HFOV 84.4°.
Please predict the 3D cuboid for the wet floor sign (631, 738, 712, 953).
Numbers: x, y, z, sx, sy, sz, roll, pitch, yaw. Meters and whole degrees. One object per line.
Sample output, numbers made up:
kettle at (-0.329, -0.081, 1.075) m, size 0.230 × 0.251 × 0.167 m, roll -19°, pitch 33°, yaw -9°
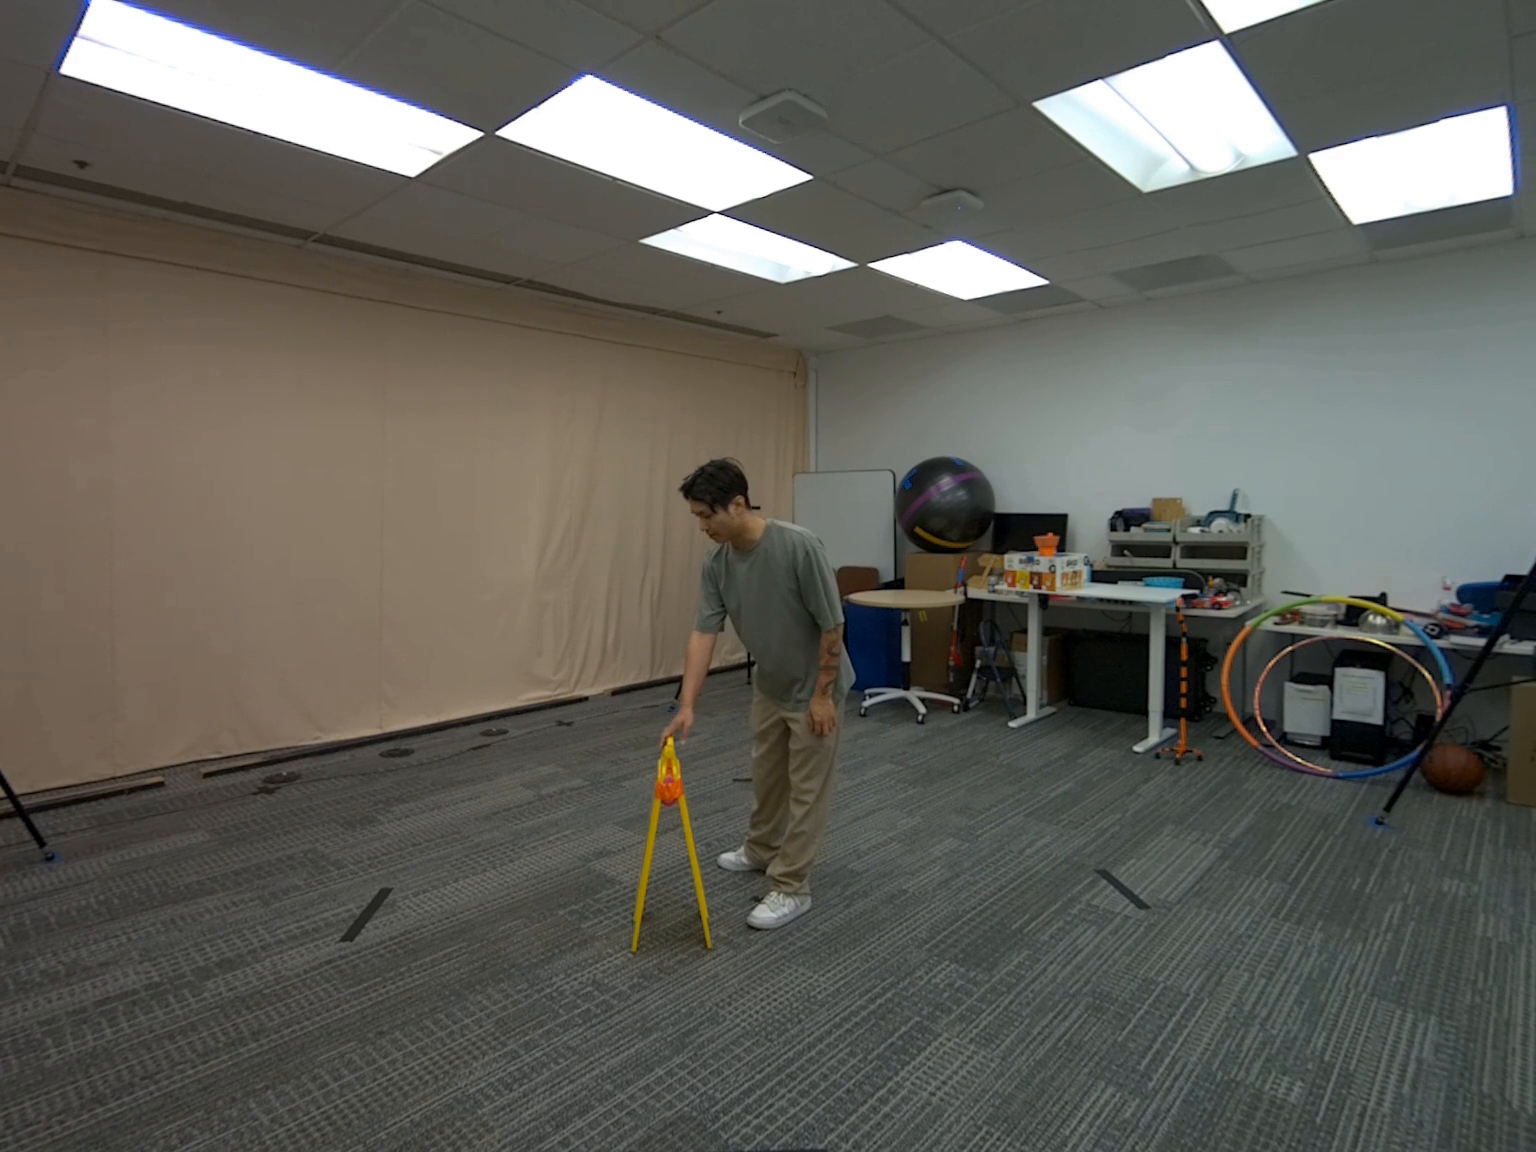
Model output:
wet floor sign at (-0.316, 0.846, 2.750) m, size 0.288 × 0.645 × 0.284 m, roll -1°, pitch 3°, yaw -6°
